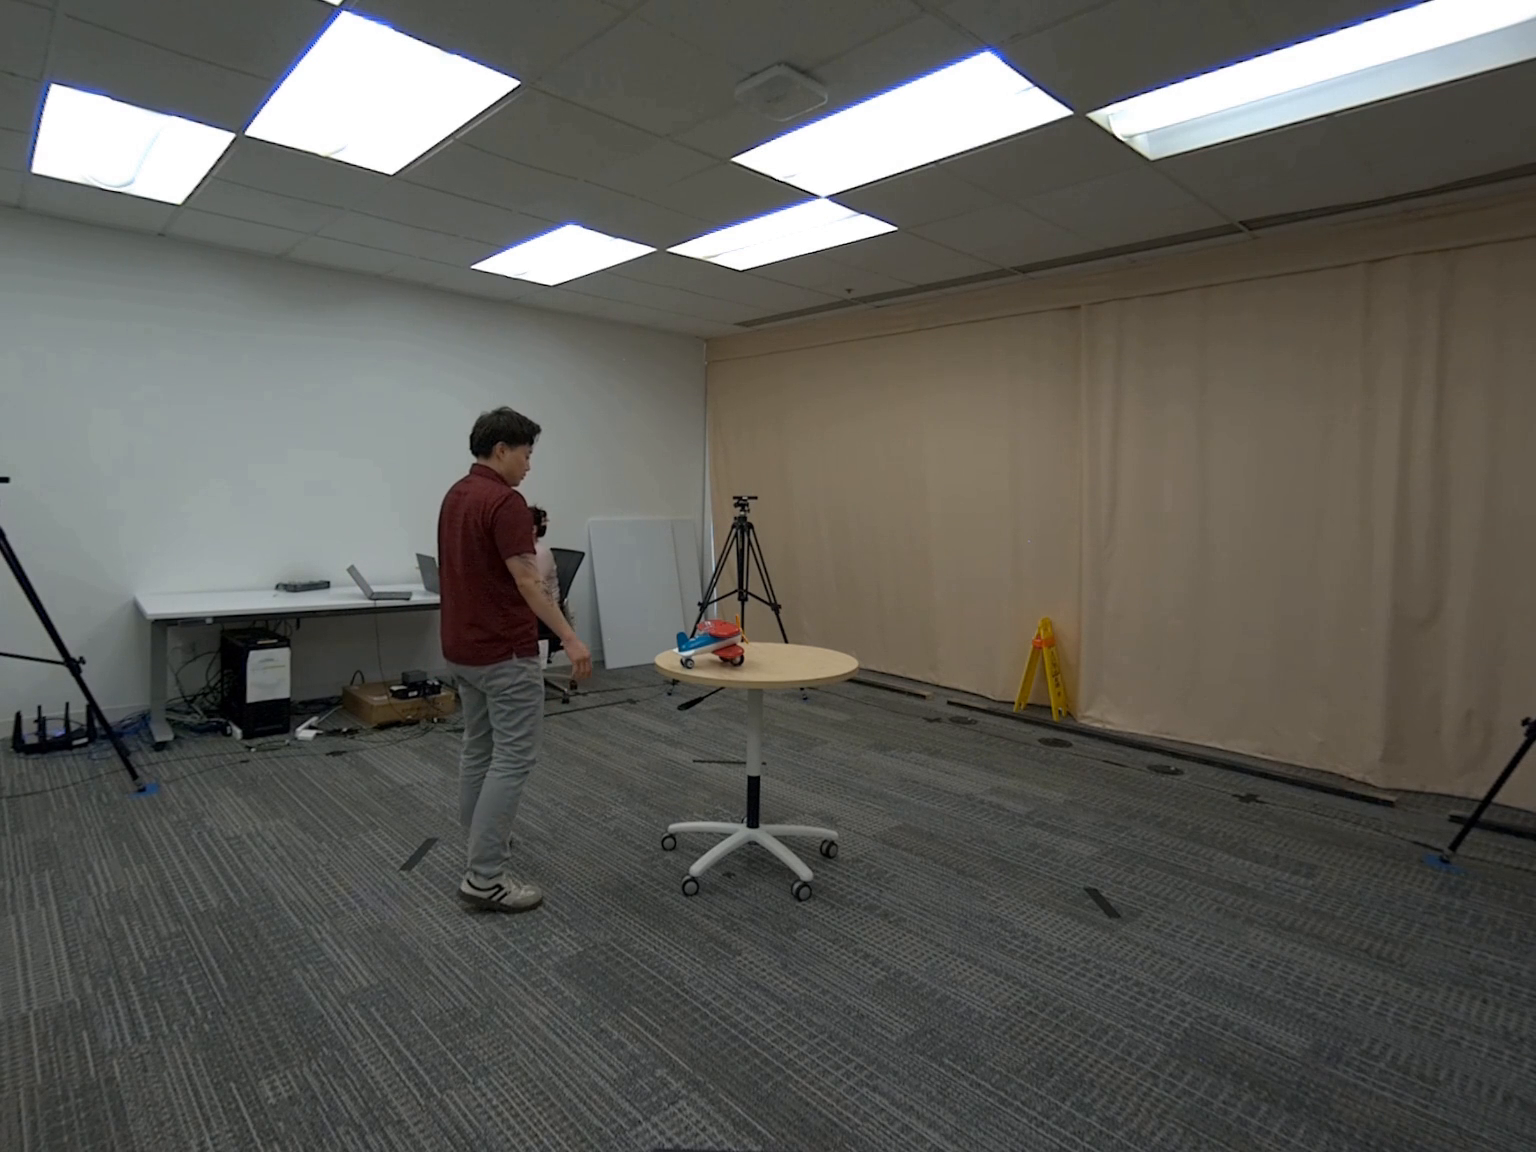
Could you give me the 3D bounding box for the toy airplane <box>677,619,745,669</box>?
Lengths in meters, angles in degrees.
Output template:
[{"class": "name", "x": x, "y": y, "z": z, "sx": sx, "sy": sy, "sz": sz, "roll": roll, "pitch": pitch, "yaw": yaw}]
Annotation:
[{"class": "toy airplane", "x": -0.208, "y": 0.249, "z": 3.020, "sx": 0.257, "sy": 0.156, "sz": 0.253, "roll": 2, "pitch": 3, "yaw": 34}]
